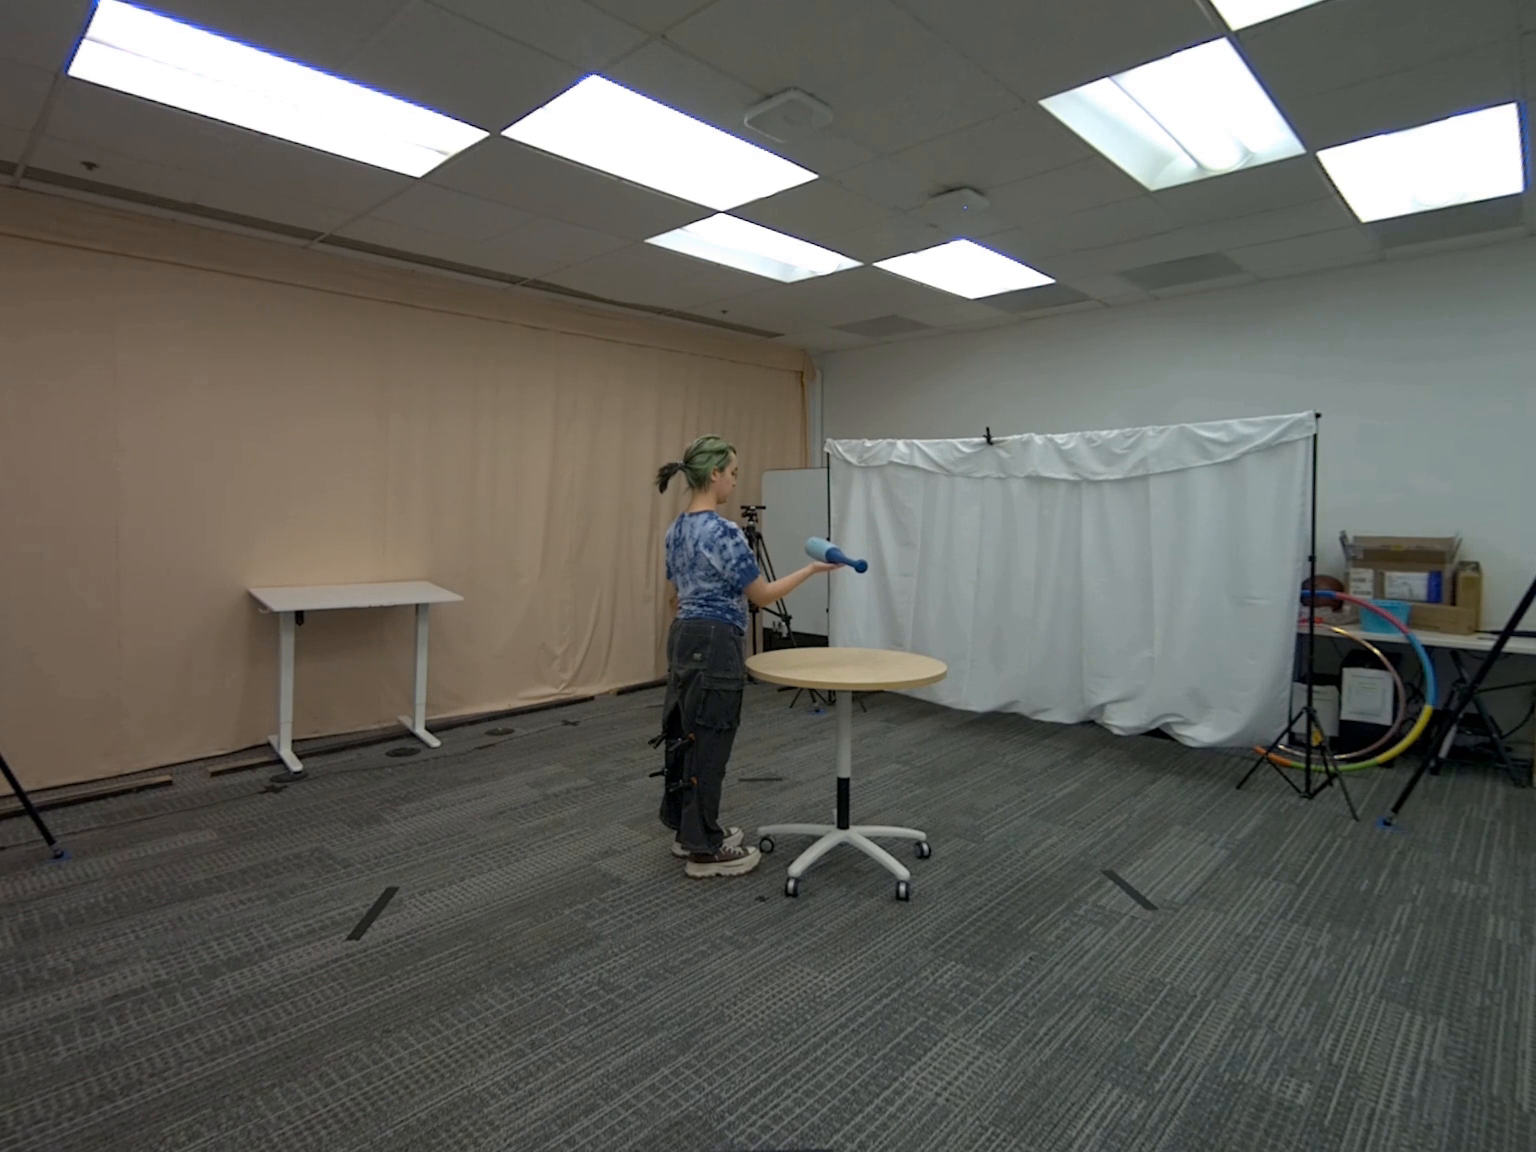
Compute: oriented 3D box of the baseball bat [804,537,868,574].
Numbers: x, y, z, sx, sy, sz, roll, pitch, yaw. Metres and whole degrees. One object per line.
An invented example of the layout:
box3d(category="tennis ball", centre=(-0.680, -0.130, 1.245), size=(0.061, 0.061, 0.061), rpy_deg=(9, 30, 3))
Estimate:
box3d(category="baseball bat", centre=(0.270, -0.074, 3.239), size=(0.088, 0.088, 0.554), rpy_deg=(-1, 10, -16))
